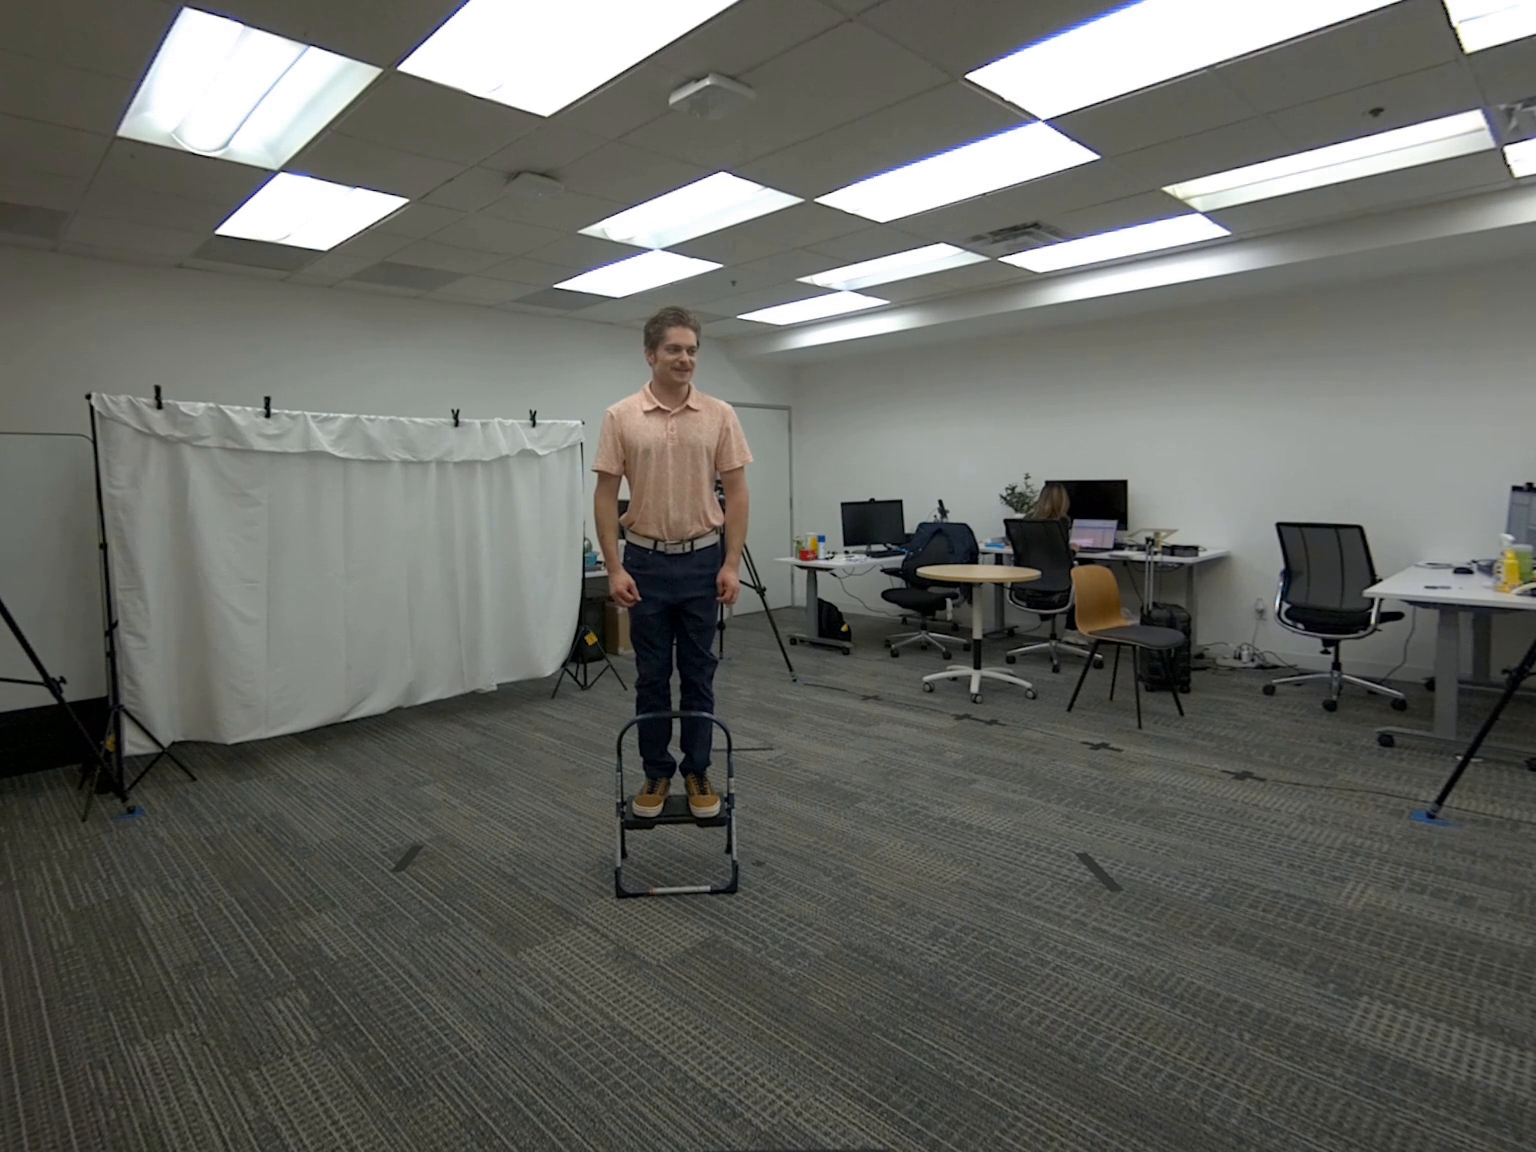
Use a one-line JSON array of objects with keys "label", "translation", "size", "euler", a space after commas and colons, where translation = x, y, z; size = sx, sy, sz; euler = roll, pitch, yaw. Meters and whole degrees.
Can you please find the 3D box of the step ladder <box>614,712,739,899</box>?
[{"label": "step ladder", "translation": [-0.329, 0.763, 3.024], "size": [0.429, 0.604, 0.352], "euler": [-2, 4, -5]}]
